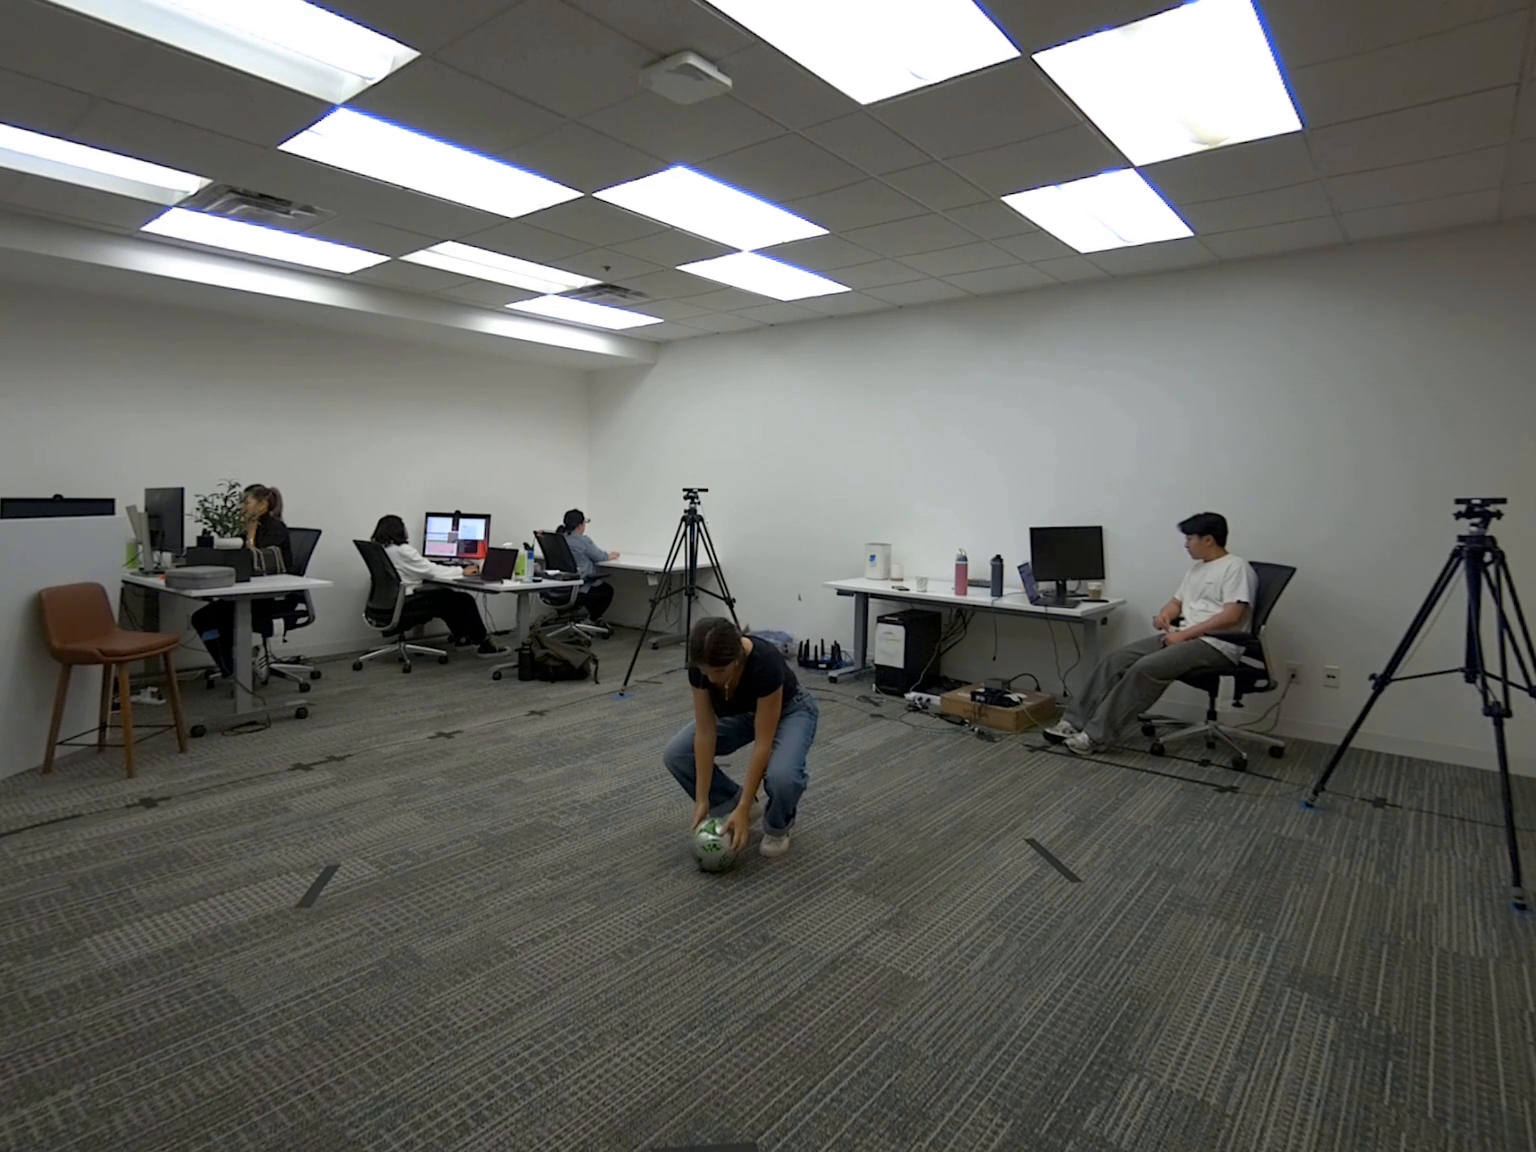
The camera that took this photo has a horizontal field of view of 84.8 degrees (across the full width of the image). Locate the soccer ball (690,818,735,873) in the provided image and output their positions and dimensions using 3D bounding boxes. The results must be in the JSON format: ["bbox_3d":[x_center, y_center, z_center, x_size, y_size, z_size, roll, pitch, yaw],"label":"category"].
[{"bbox_3d":[-0.199,0.975,3.117,0.187,0.187,0.188,1,4,-2],"label":"soccer ball"}]
